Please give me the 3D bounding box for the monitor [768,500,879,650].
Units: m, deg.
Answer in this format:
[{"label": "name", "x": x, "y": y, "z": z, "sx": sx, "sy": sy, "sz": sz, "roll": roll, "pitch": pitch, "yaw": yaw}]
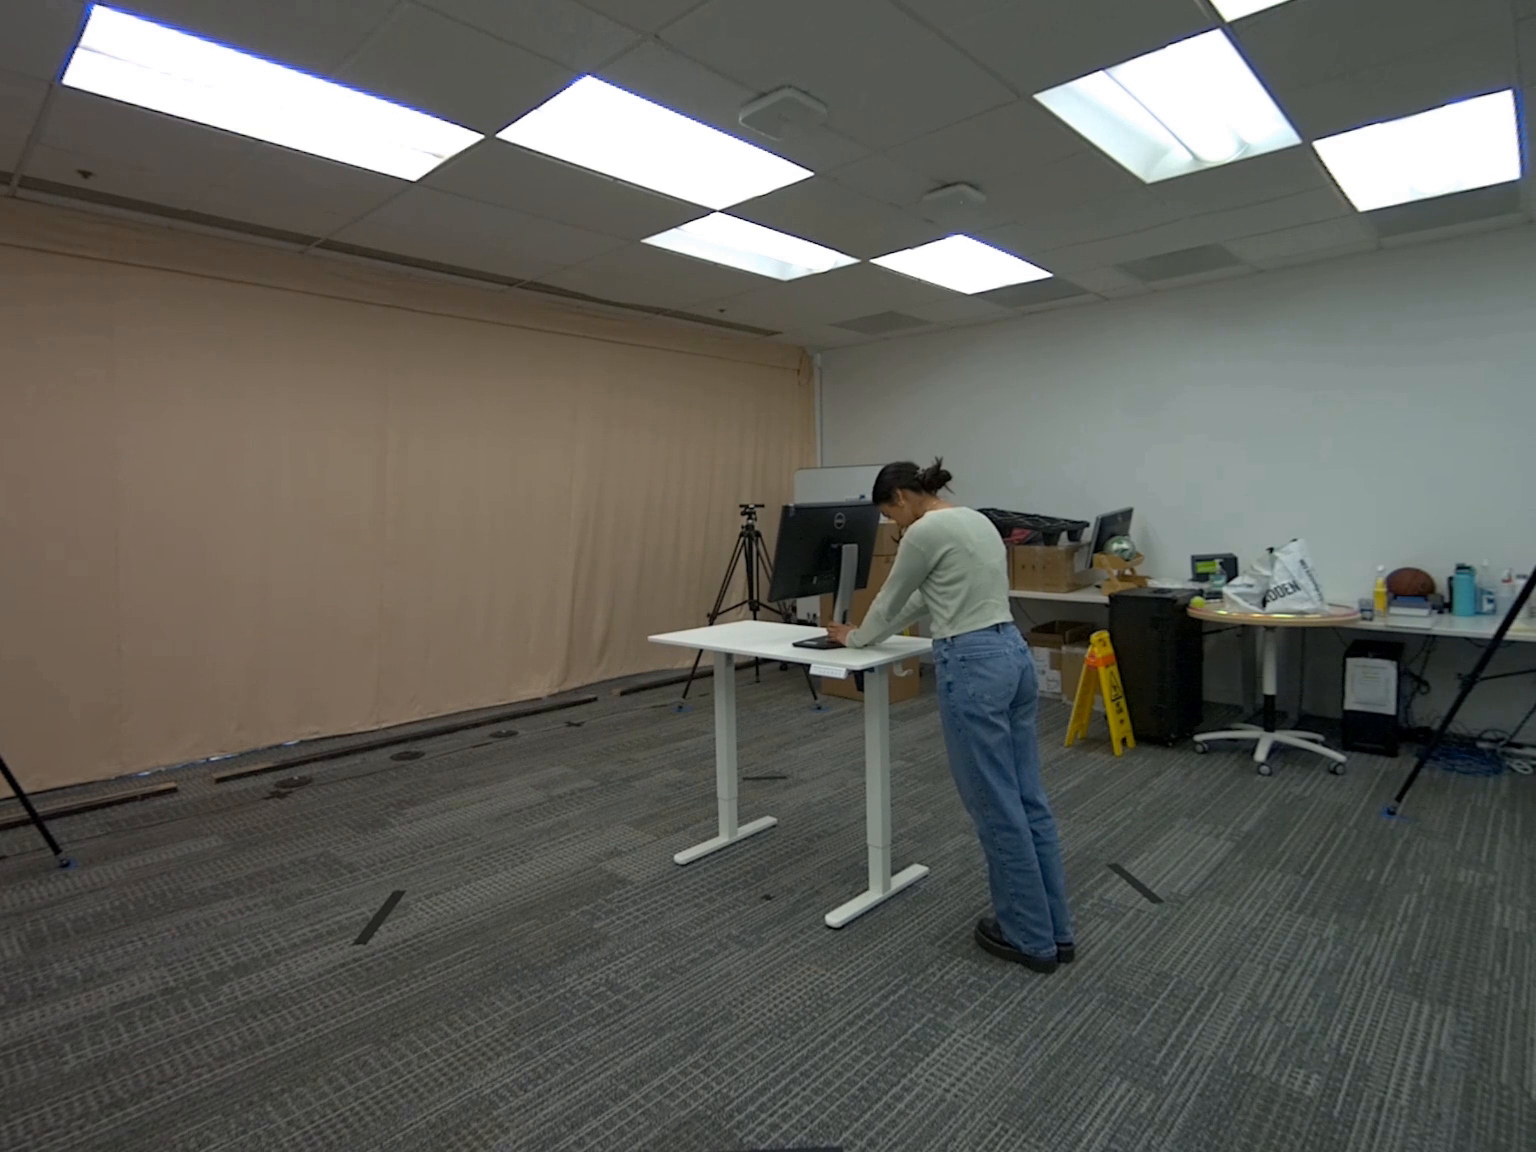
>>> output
[{"label": "monitor", "x": 0.234, "y": -0.009, "z": 3.046, "sx": 0.523, "sy": 0.521, "sz": 0.193, "roll": -5, "pitch": 4, "yaw": -42}]
